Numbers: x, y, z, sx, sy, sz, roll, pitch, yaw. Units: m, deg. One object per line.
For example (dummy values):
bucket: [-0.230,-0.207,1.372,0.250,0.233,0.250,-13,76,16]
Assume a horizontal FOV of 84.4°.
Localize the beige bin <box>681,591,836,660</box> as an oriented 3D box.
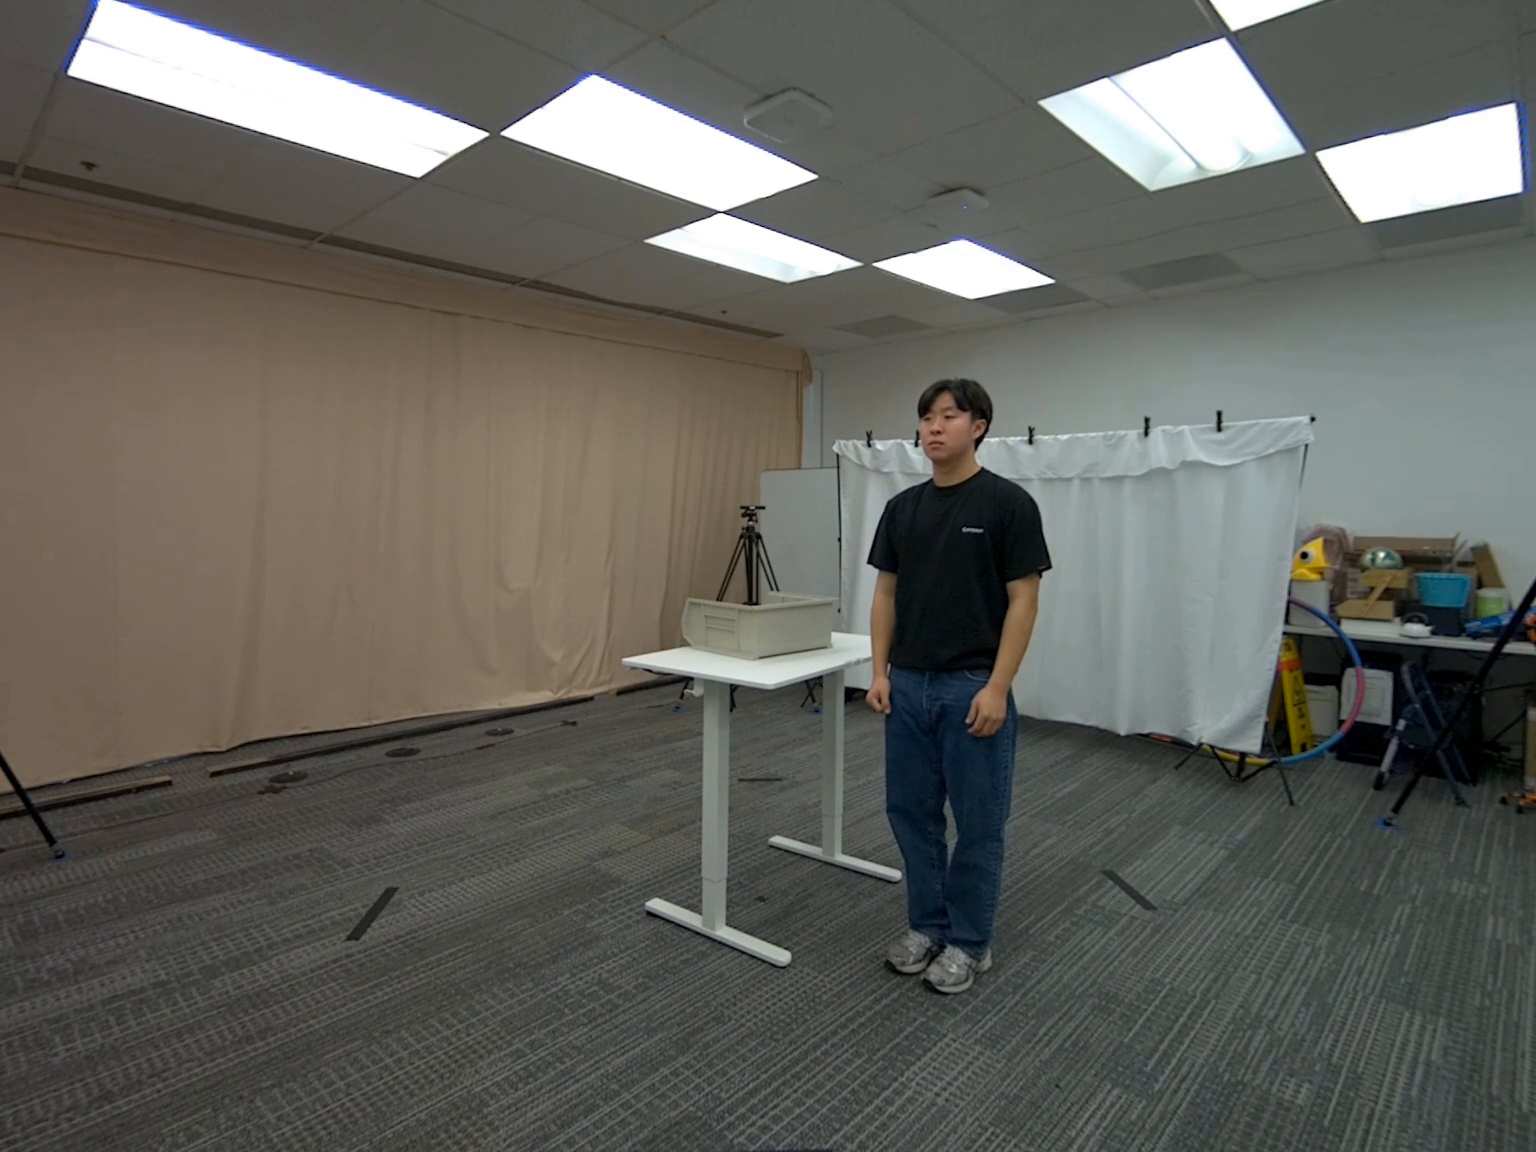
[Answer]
beige bin: [-0.030,0.168,3.016,0.409,0.188,0.390,-3,7,-44]
